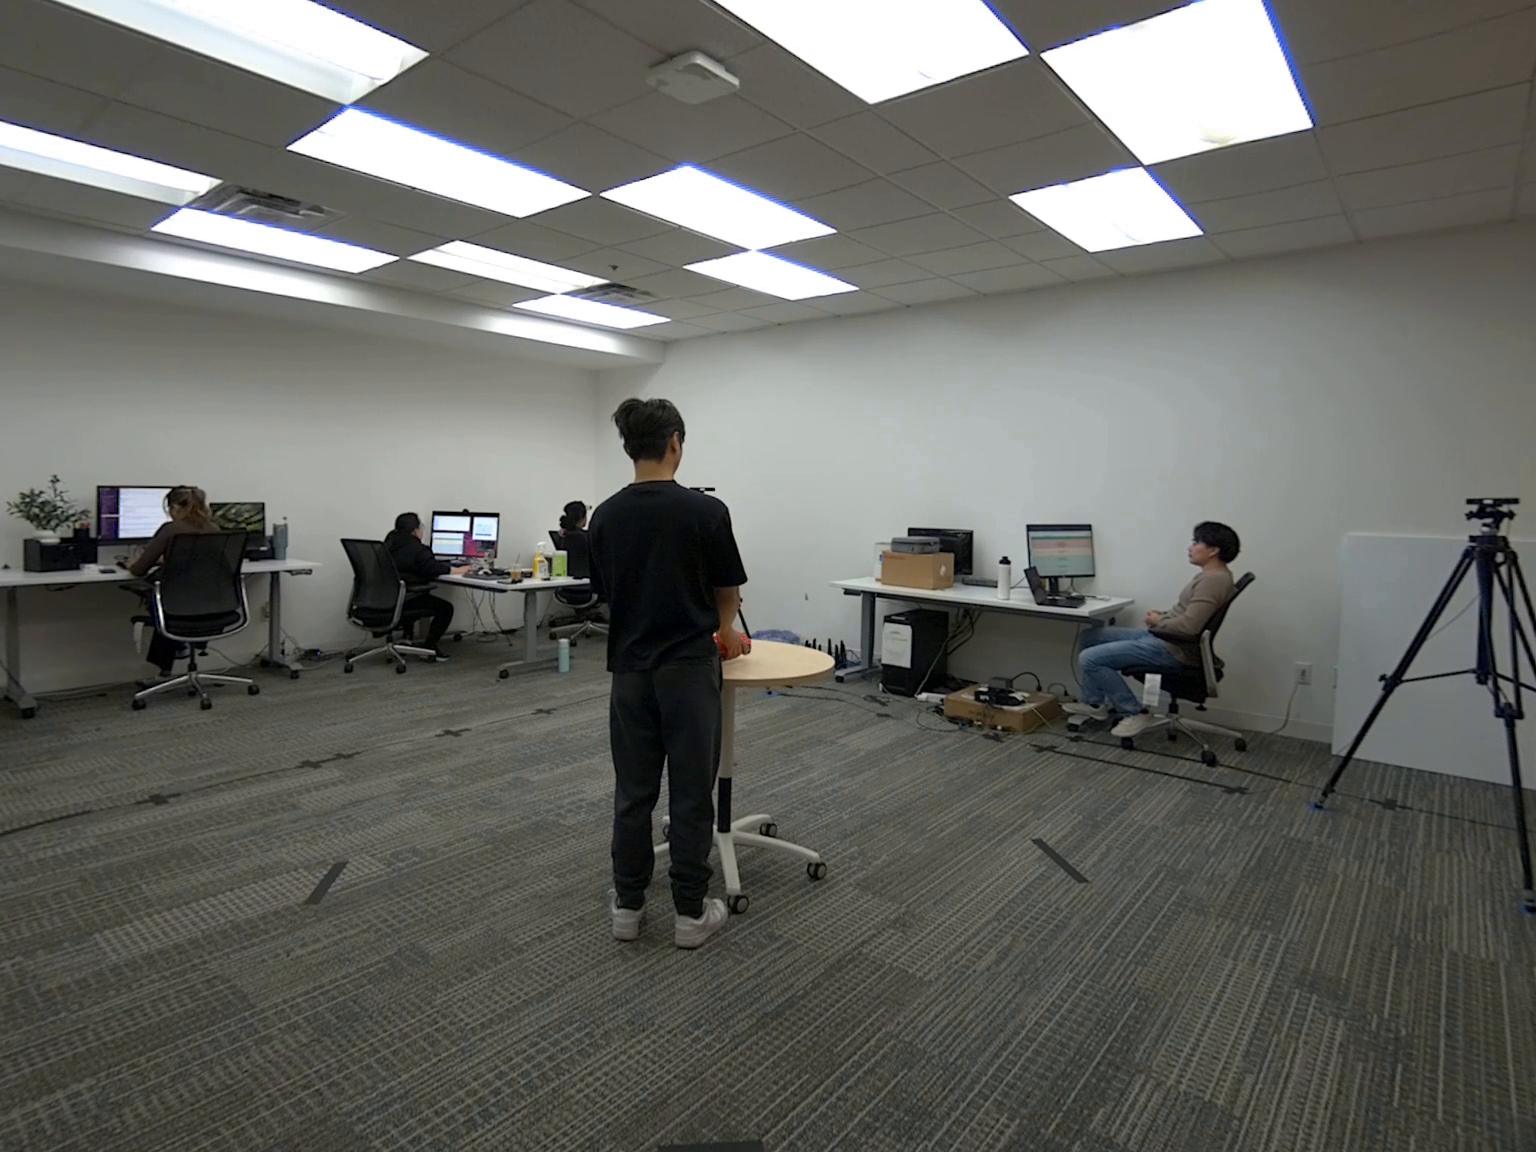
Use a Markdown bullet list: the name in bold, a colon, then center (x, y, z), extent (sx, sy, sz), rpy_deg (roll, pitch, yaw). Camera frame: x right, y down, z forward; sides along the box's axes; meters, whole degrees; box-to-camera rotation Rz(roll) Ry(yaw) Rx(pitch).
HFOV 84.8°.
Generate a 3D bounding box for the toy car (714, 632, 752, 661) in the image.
- **toy car**: center (-0.176, 0.240, 2.956), extent (0.135, 0.082, 0.246), rpy_deg (29, 17, 35)
